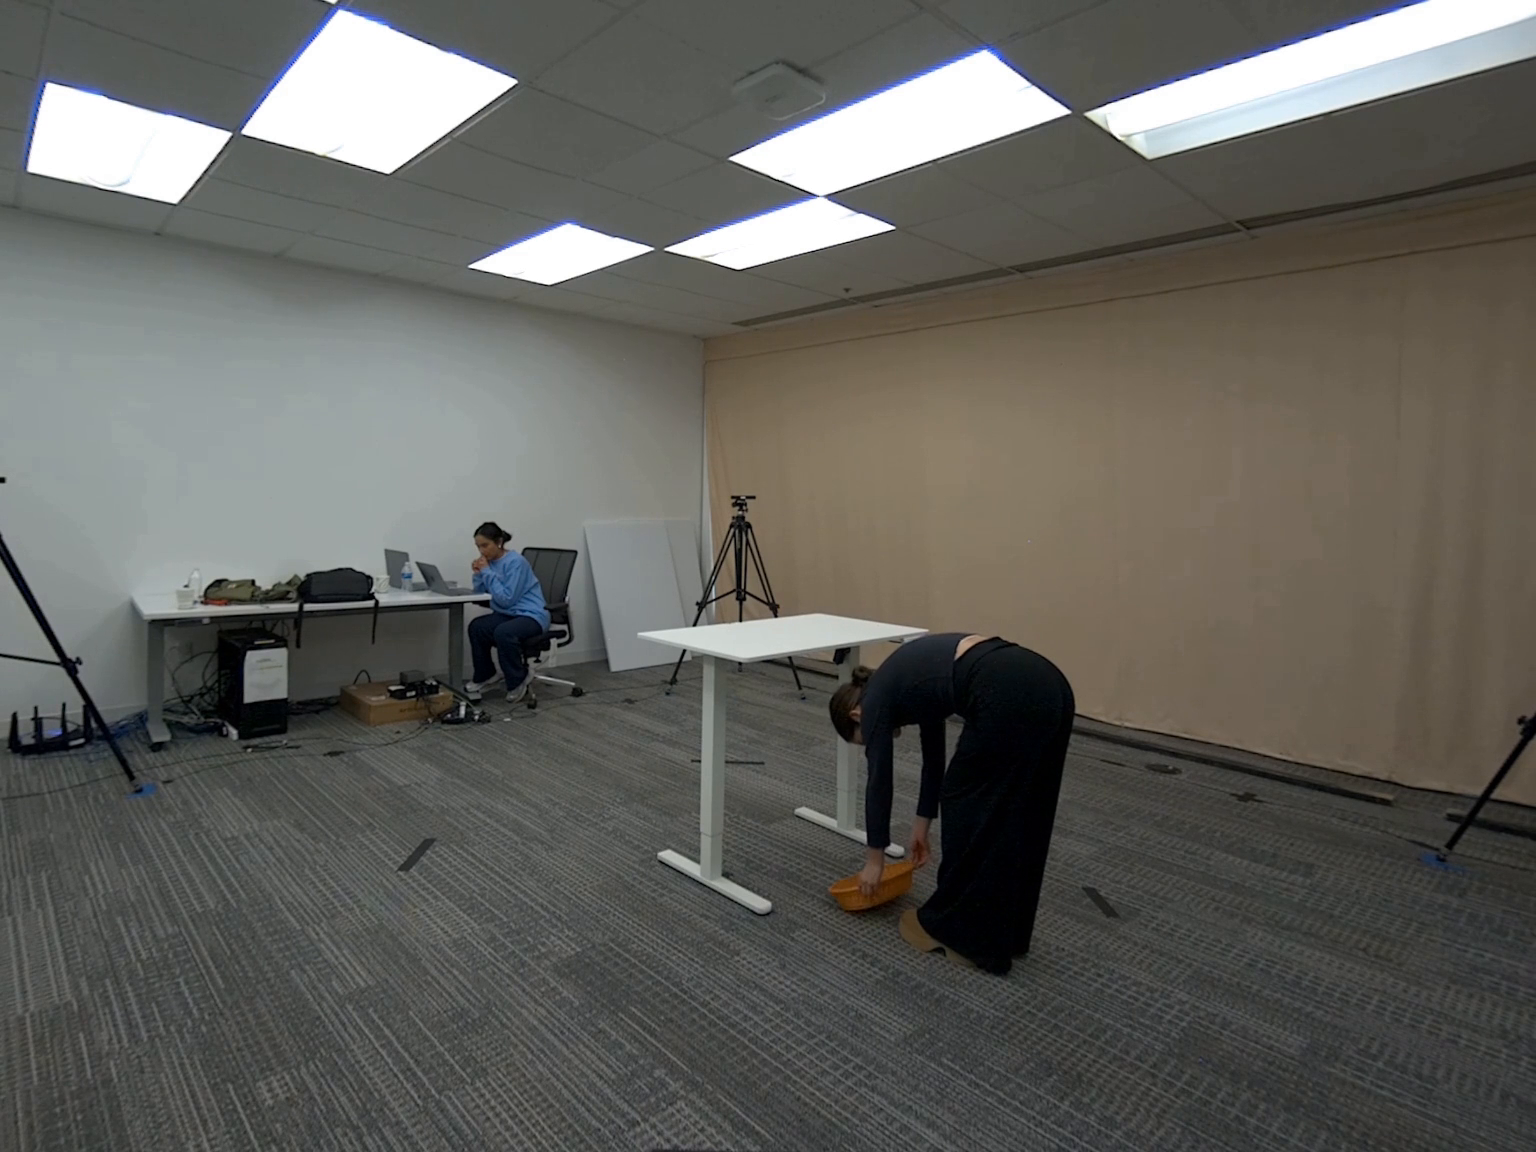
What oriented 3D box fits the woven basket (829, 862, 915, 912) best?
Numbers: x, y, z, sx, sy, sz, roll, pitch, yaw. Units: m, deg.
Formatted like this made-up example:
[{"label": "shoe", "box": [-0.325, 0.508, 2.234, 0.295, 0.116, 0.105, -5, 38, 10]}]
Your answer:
[{"label": "woven basket", "box": [0.353, 1.058, 2.890, 0.343, 0.074, 0.255, -5, -15, -42]}]
